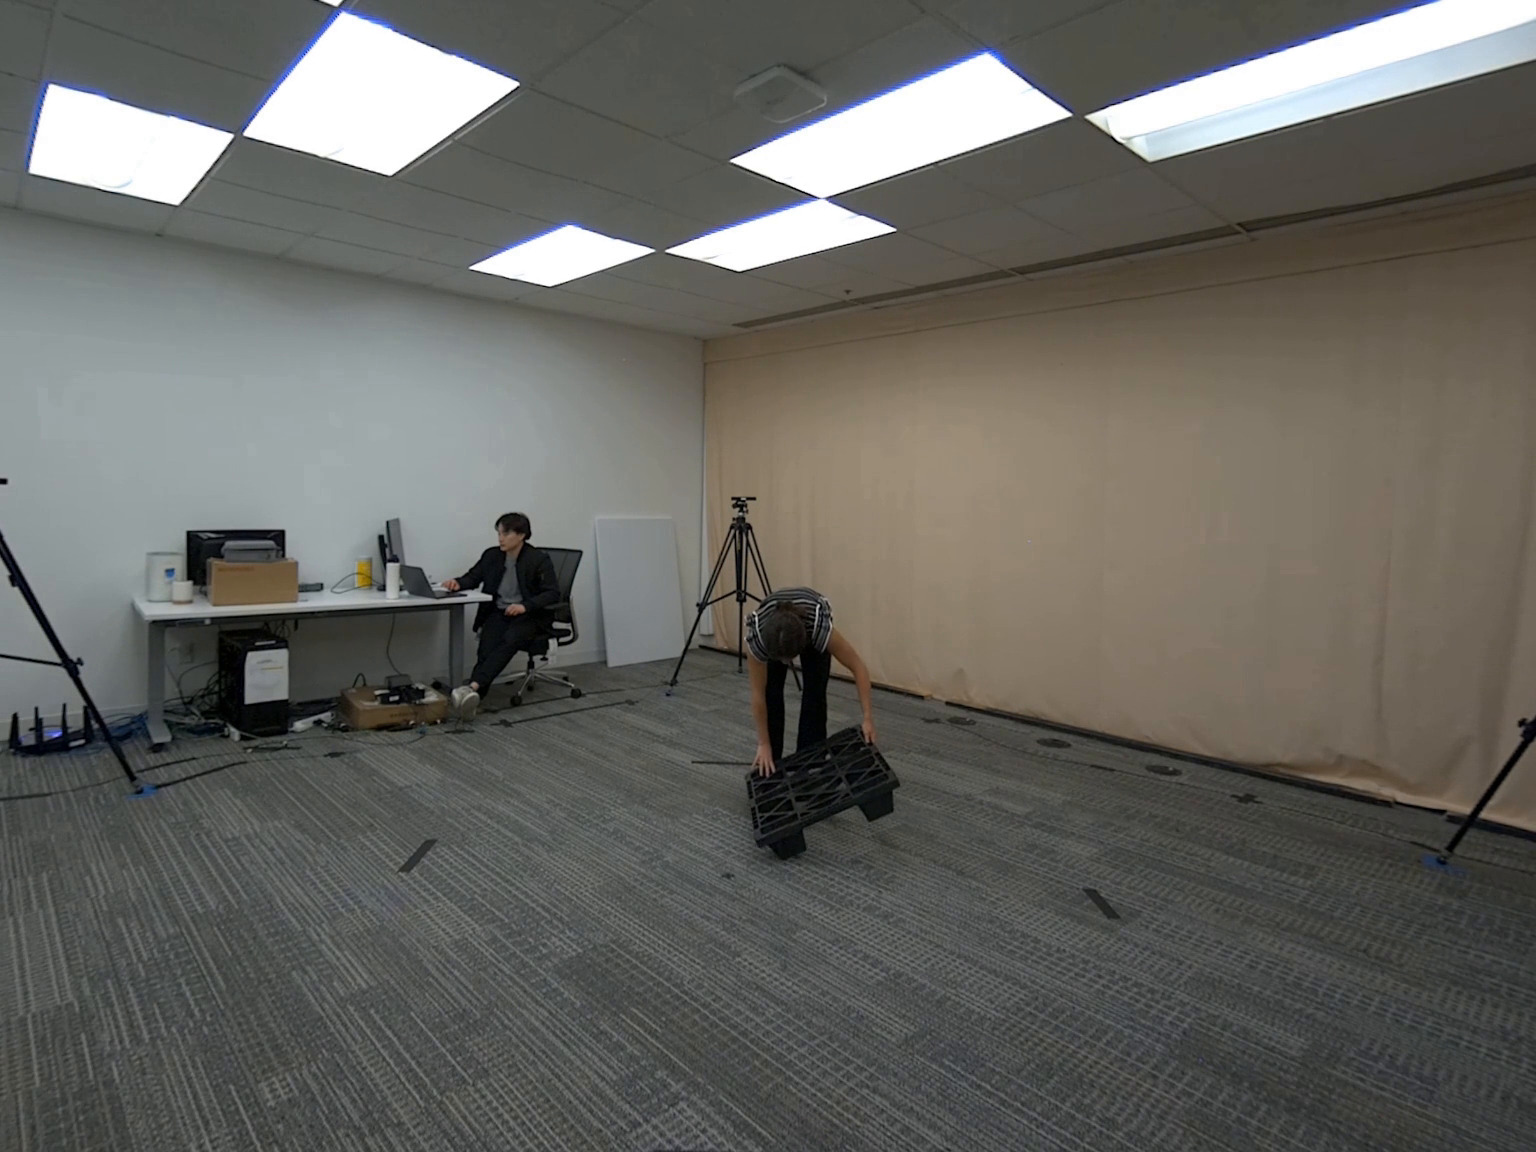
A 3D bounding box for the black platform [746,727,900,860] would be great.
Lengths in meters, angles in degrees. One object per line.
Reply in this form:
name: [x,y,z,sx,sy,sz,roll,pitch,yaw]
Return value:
black platform: [0.208,0.913,3.607,0.605,0.142,0.810,-23,7,-1]
